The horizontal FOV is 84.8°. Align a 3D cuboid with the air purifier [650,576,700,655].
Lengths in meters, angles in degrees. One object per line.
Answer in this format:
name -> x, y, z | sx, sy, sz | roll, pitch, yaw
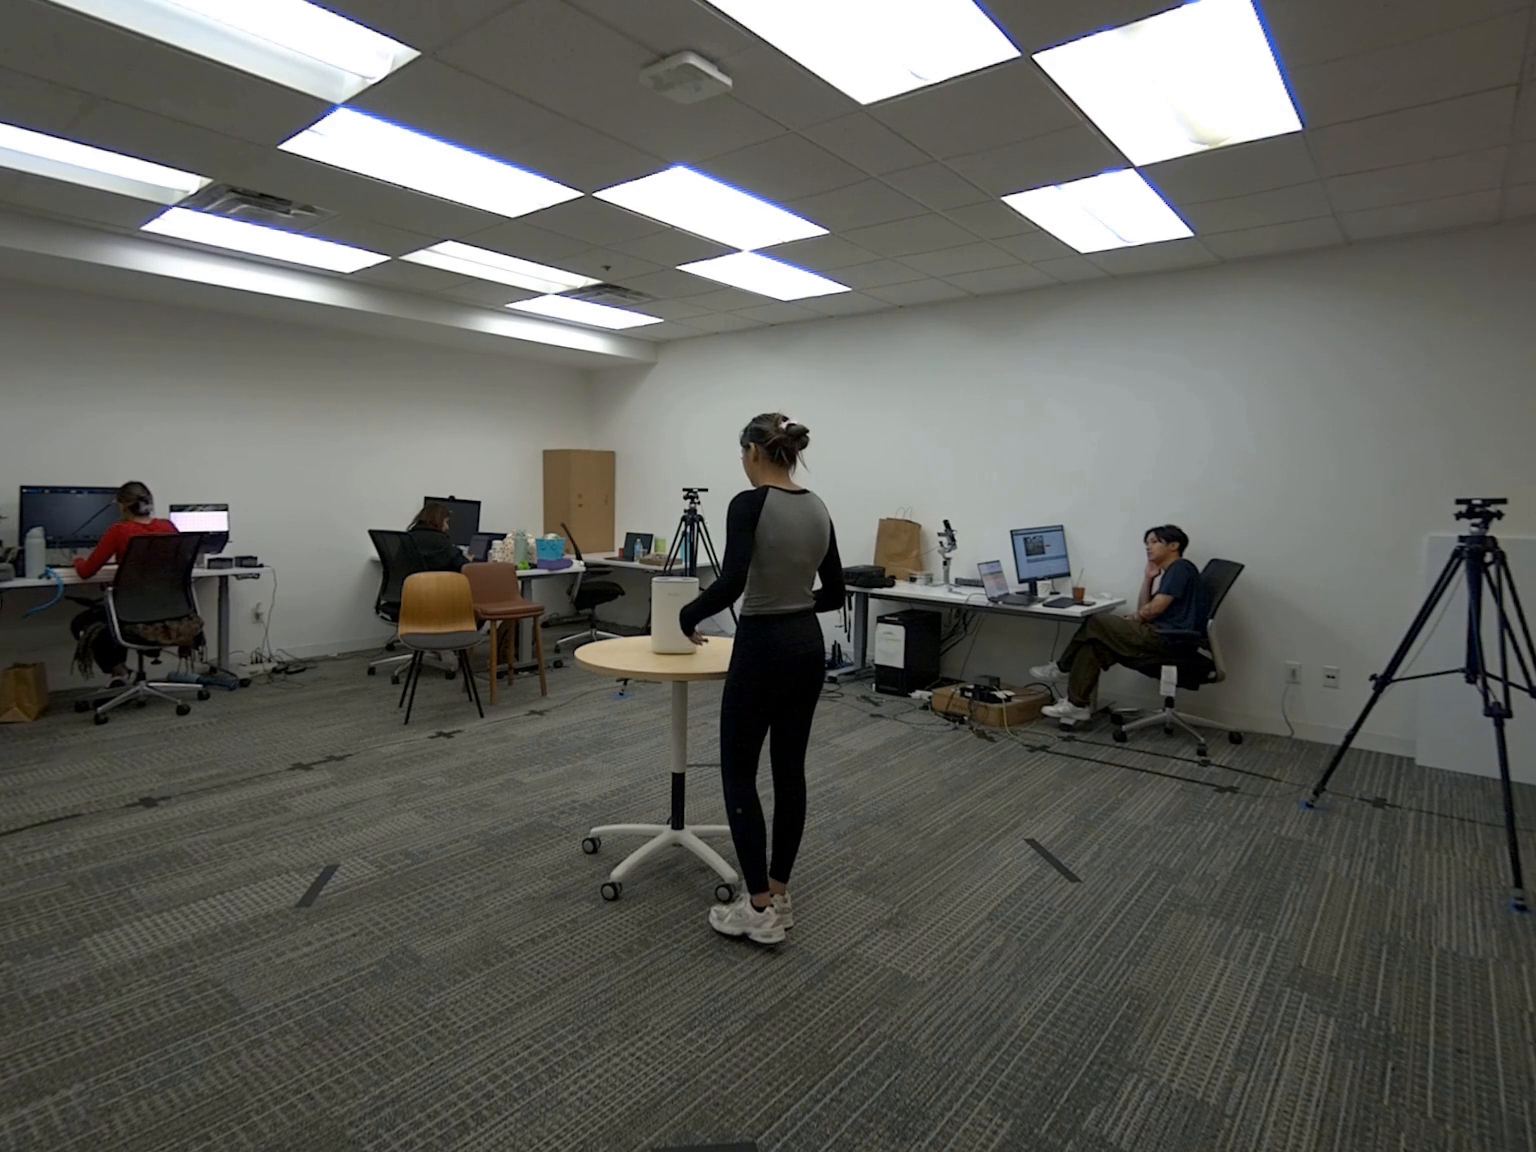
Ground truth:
air purifier -> -0.354, 0.142, 3.113 | 0.170, 0.264, 0.173 | -1, 4, -5
